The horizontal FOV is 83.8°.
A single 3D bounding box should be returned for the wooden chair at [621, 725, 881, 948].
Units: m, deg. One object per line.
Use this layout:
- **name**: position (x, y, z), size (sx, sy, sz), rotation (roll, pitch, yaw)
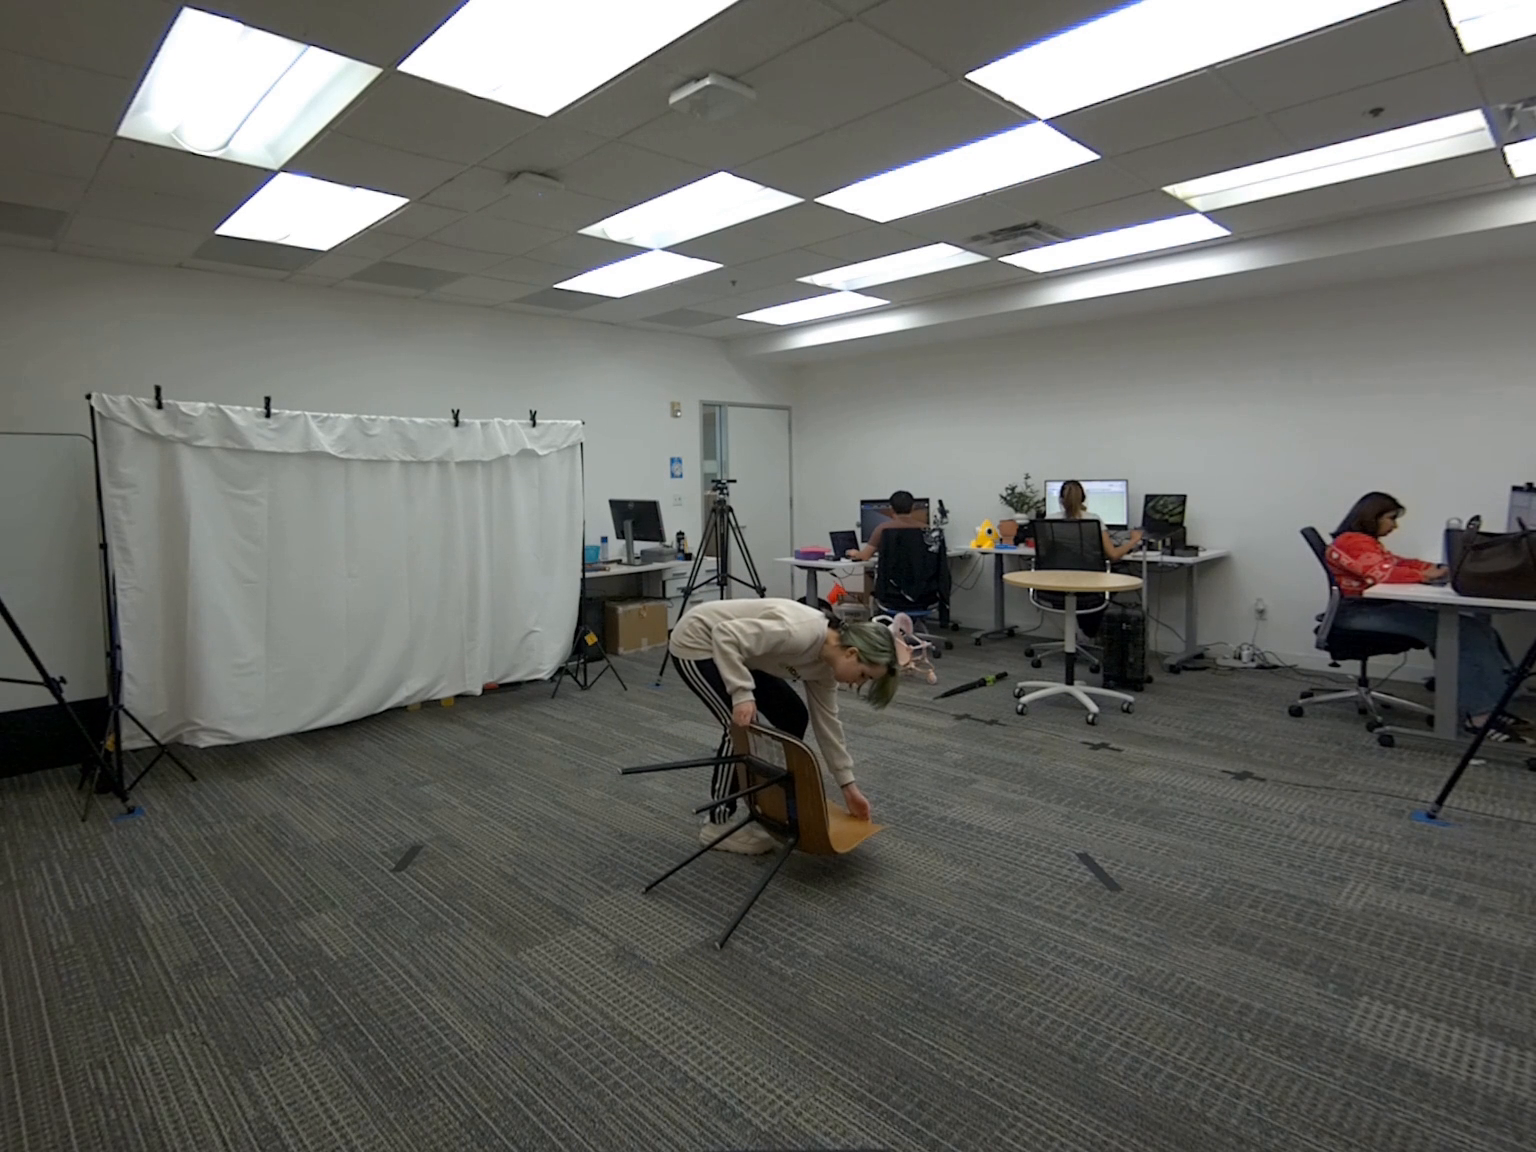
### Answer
- **wooden chair**: position (0.002, 0.763, 2.919), size (0.858, 0.519, 0.493), rotation (-13, 12, -37)
